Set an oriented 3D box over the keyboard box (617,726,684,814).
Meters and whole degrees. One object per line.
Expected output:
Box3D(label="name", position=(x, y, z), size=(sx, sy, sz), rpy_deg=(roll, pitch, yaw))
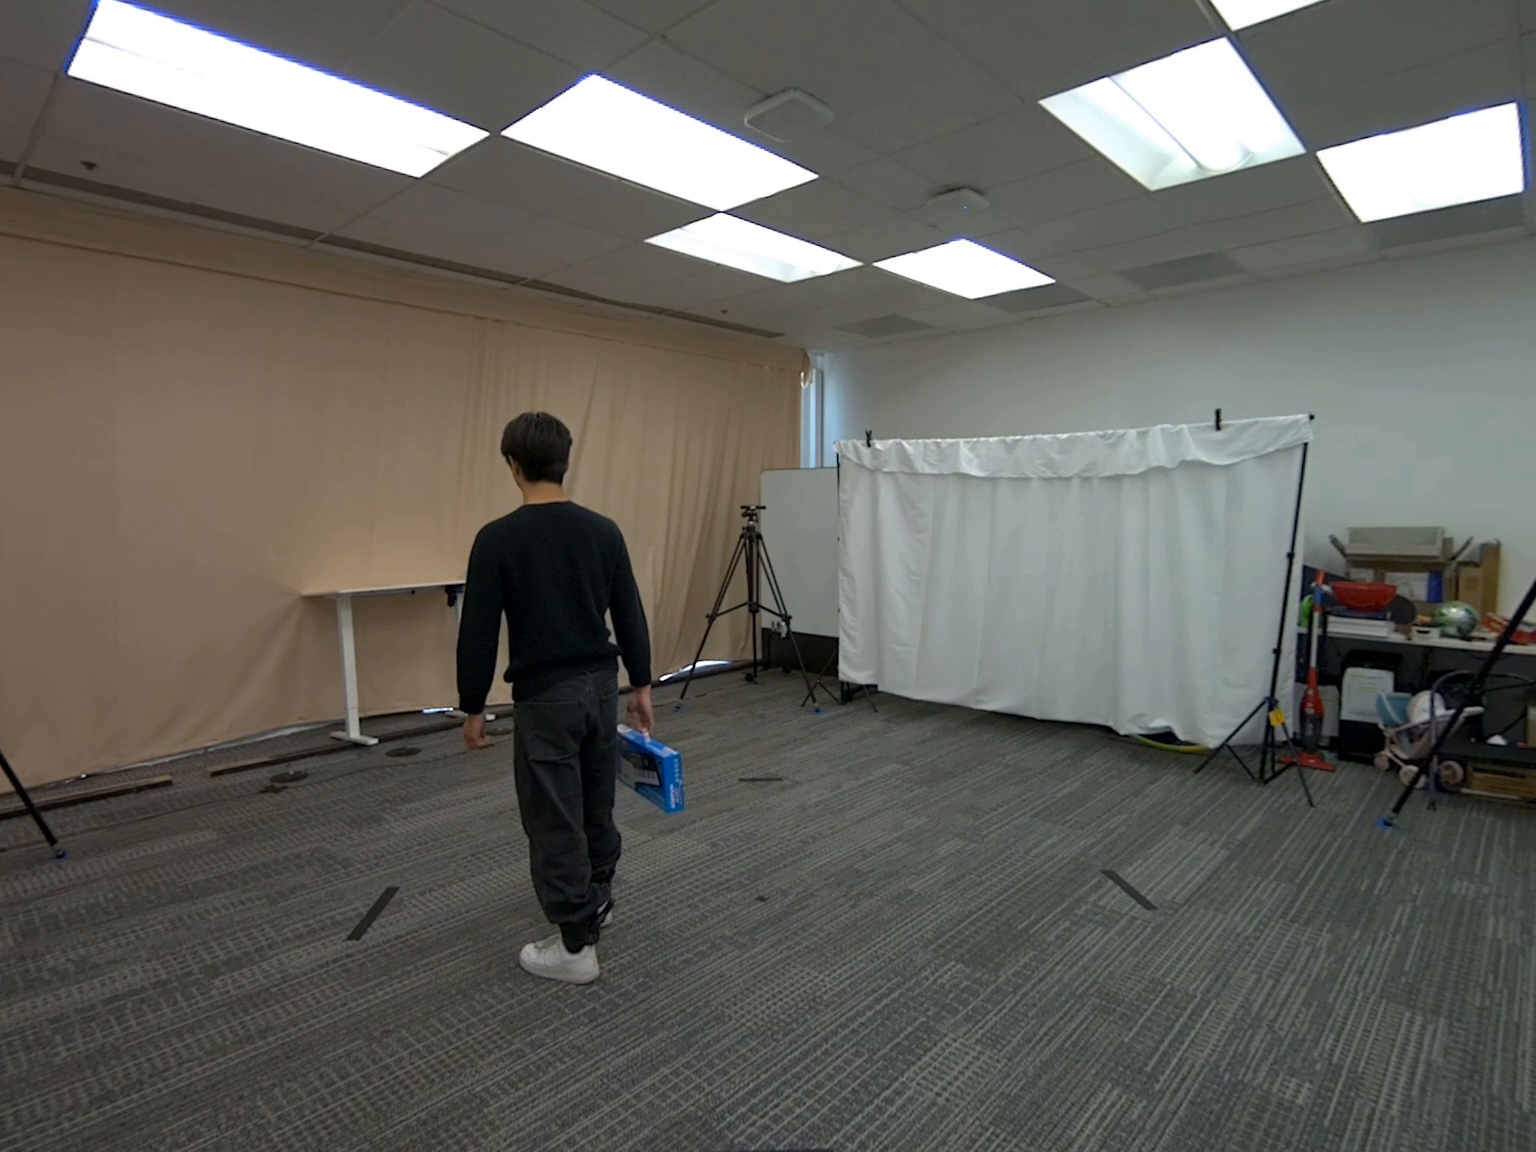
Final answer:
Box3D(label="keyboard box", position=(-0.398, 0.609, 2.694), size=(0.057, 0.175, 0.449), rpy_deg=(-5, 5, -31))
